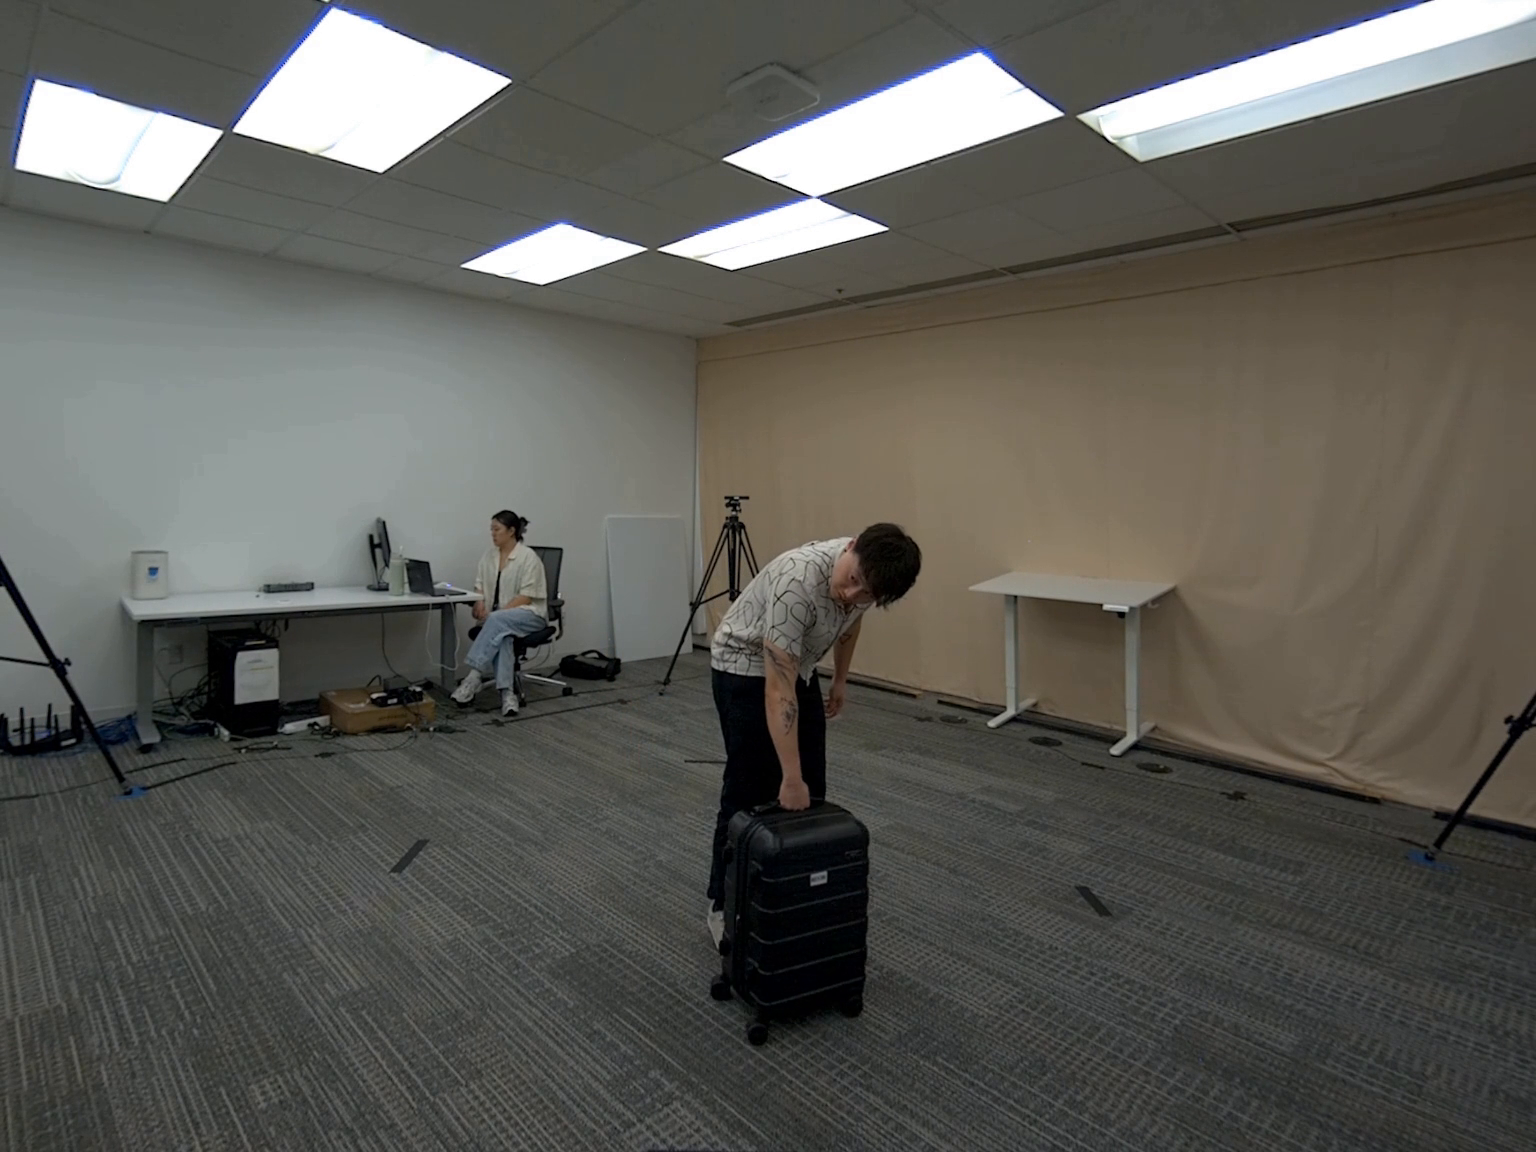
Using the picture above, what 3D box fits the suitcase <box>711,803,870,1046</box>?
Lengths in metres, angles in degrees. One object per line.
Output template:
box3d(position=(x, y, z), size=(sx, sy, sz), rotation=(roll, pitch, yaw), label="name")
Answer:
box3d(position=(0.068, 0.909, 2.307), size=(0.368, 0.548, 0.254), rotation=(2, 4, -28), label="suitcase")
